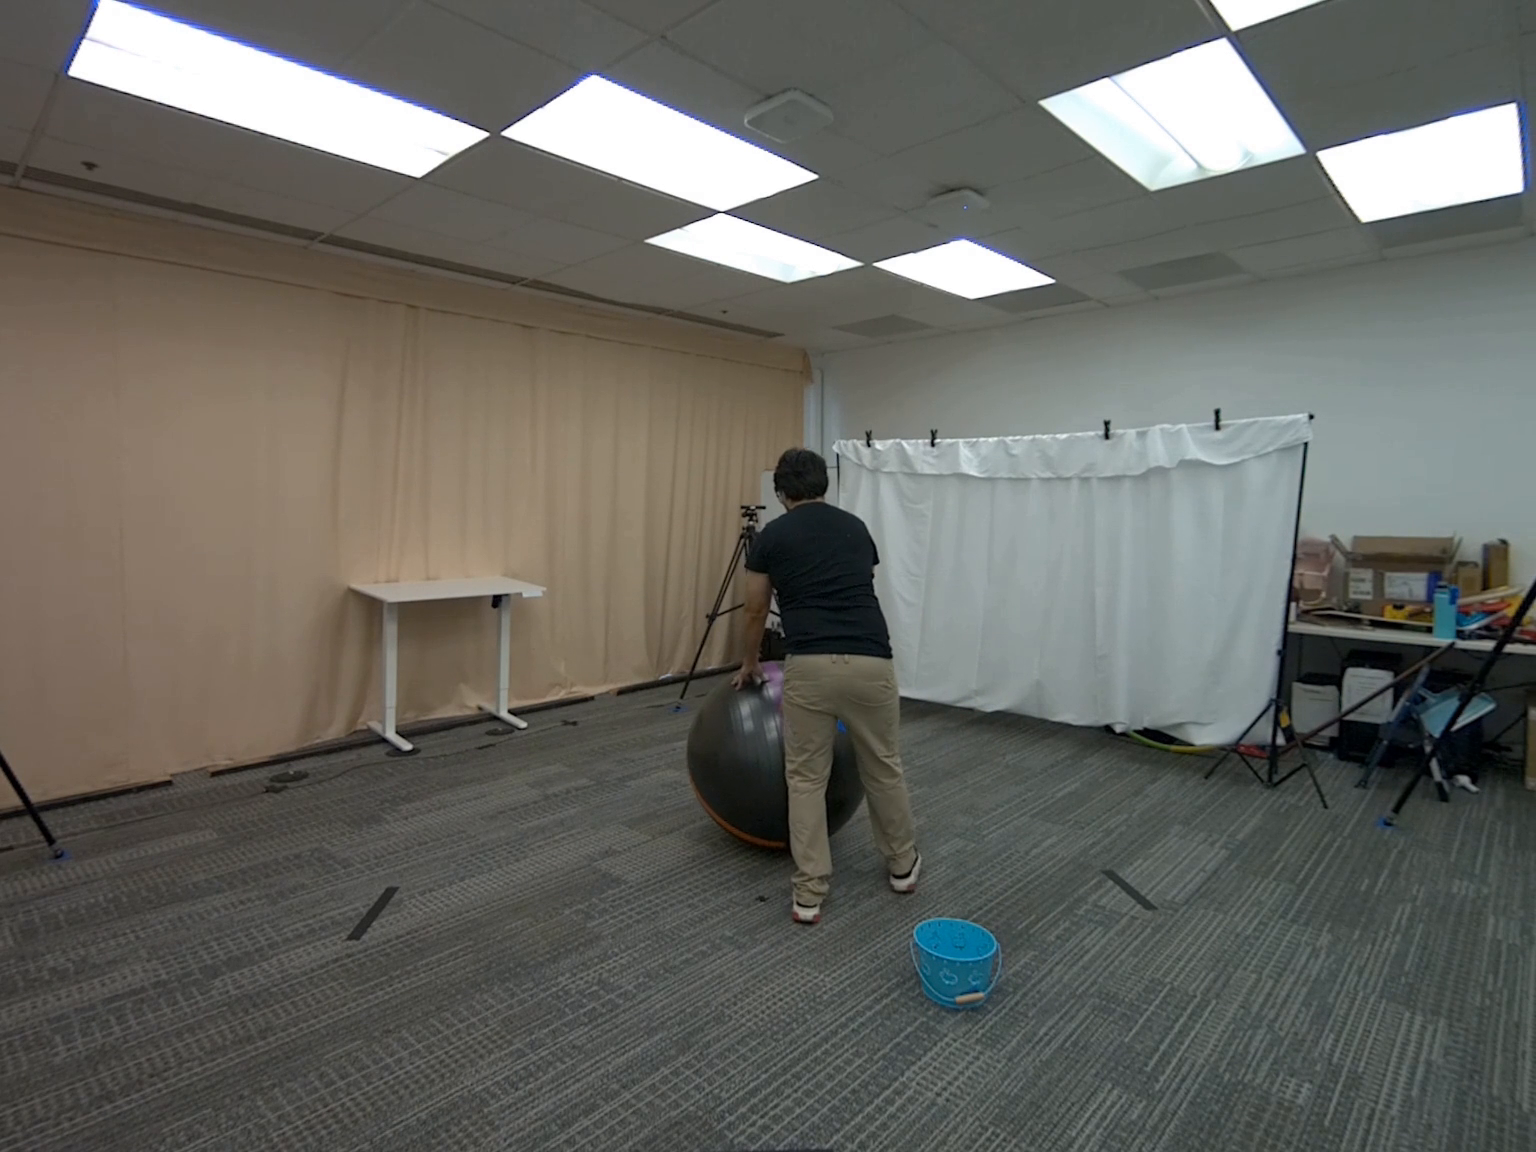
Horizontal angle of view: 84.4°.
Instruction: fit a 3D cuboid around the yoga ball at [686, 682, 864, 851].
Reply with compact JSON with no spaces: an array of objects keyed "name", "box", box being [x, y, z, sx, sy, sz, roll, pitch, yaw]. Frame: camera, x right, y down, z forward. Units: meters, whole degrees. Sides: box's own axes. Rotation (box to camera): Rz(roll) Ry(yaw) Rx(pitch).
[{"name":"yoga ball","box":[0.047,0.735,3.490,0.757,0.756,0.760,0,4,-2]}]
